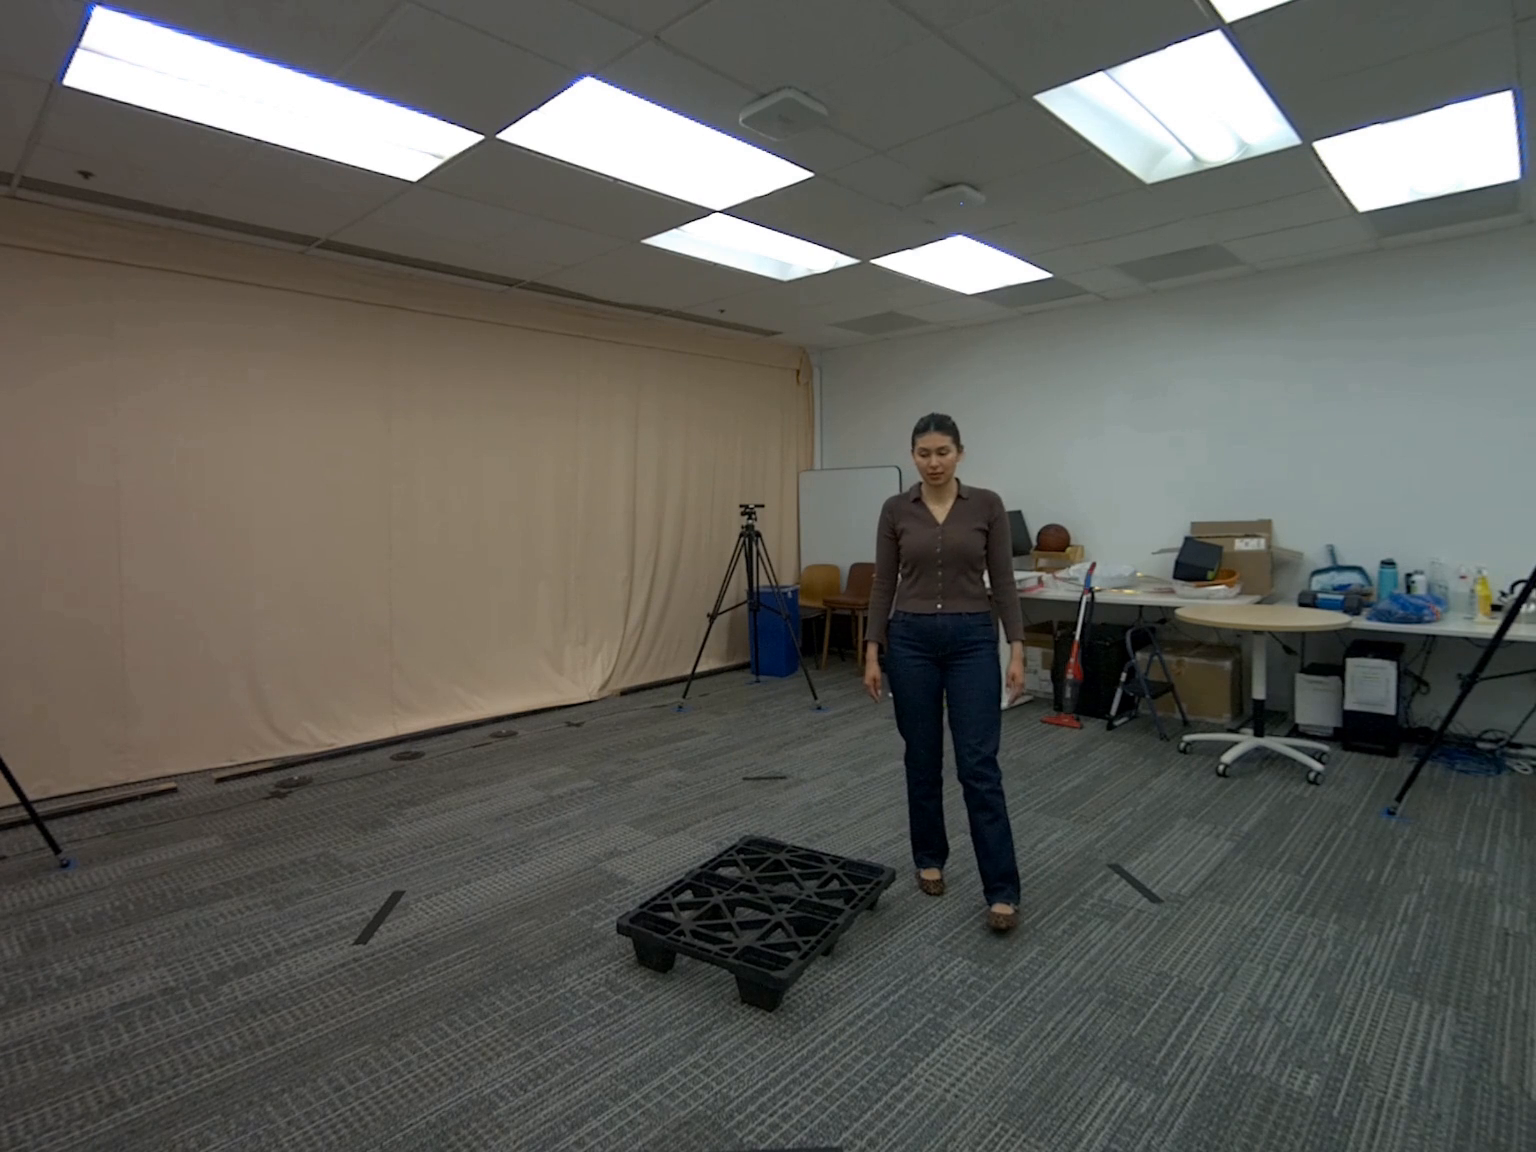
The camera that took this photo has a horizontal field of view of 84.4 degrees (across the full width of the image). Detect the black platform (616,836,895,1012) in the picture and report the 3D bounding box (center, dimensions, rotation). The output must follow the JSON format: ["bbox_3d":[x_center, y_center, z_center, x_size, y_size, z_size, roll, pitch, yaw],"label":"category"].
[{"bbox_3d":[-0.012,1.093,2.728,0.623,0.143,0.784,1,5,31],"label":"black platform"}]
